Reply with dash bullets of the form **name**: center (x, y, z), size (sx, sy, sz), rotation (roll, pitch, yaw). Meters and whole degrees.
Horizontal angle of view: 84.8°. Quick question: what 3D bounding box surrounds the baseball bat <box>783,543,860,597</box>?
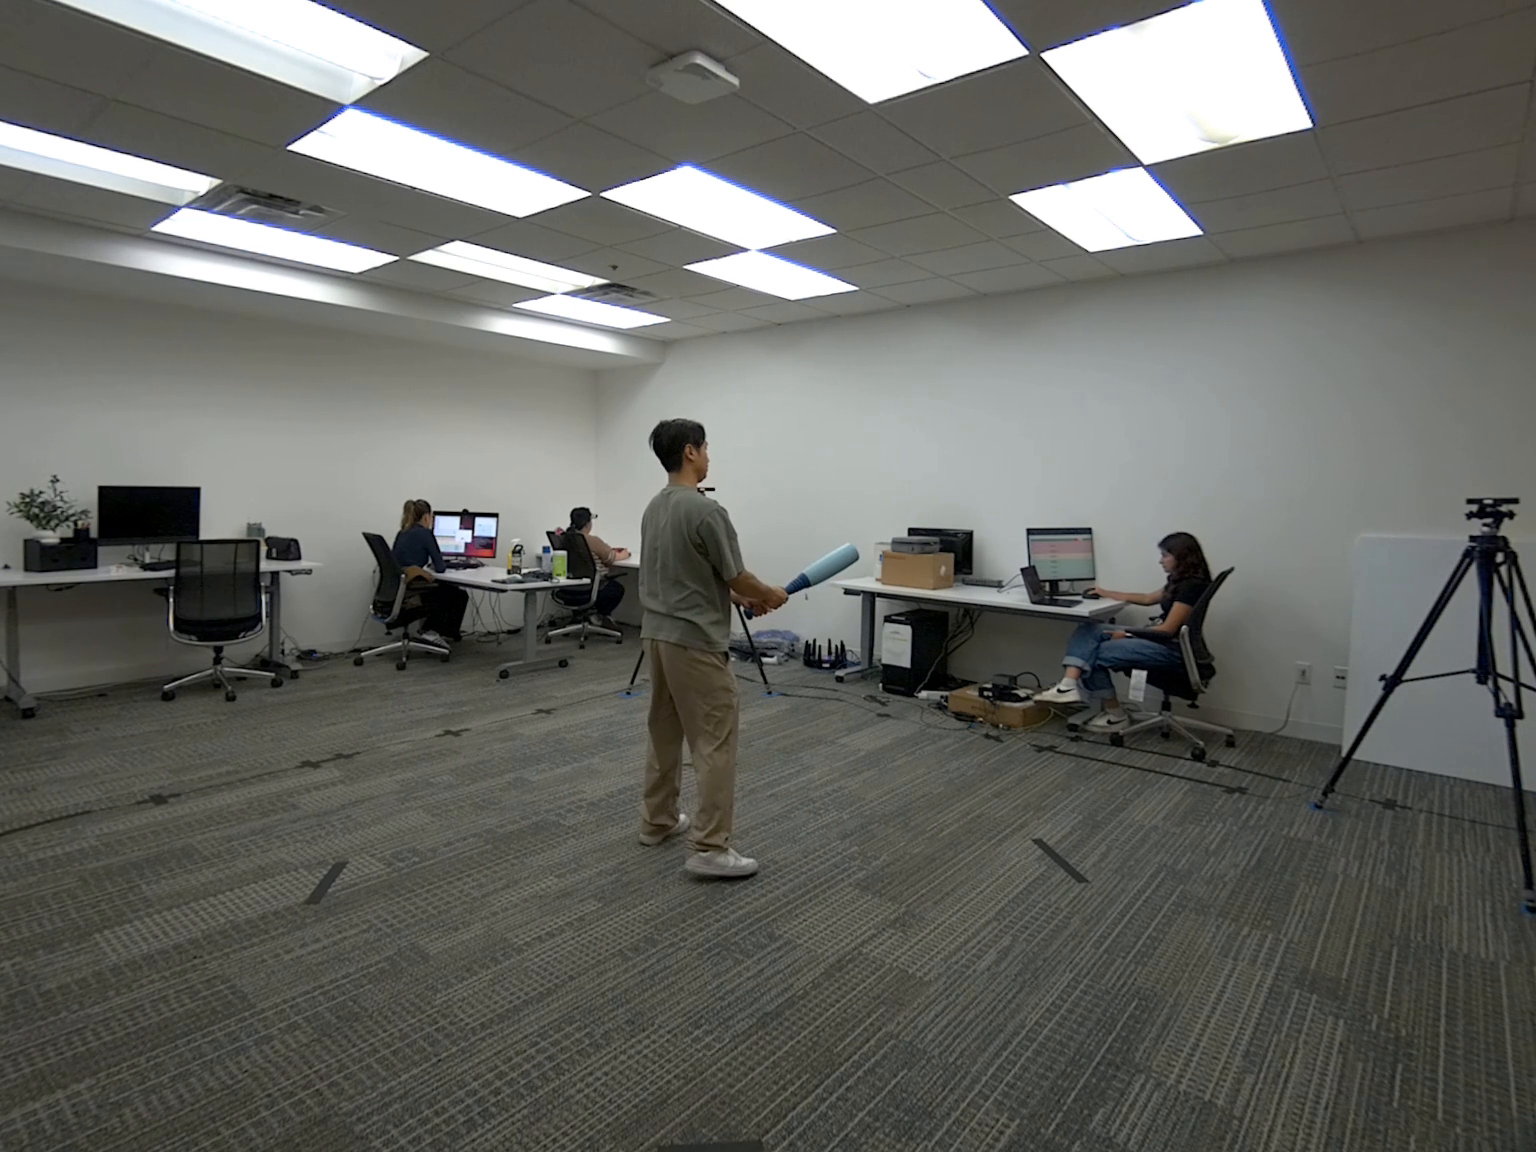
- **baseball bat**: center (0.131, 0.042, 3.426), size (0.540, 0.088, 0.091), rotation (-31, 13, -14)
